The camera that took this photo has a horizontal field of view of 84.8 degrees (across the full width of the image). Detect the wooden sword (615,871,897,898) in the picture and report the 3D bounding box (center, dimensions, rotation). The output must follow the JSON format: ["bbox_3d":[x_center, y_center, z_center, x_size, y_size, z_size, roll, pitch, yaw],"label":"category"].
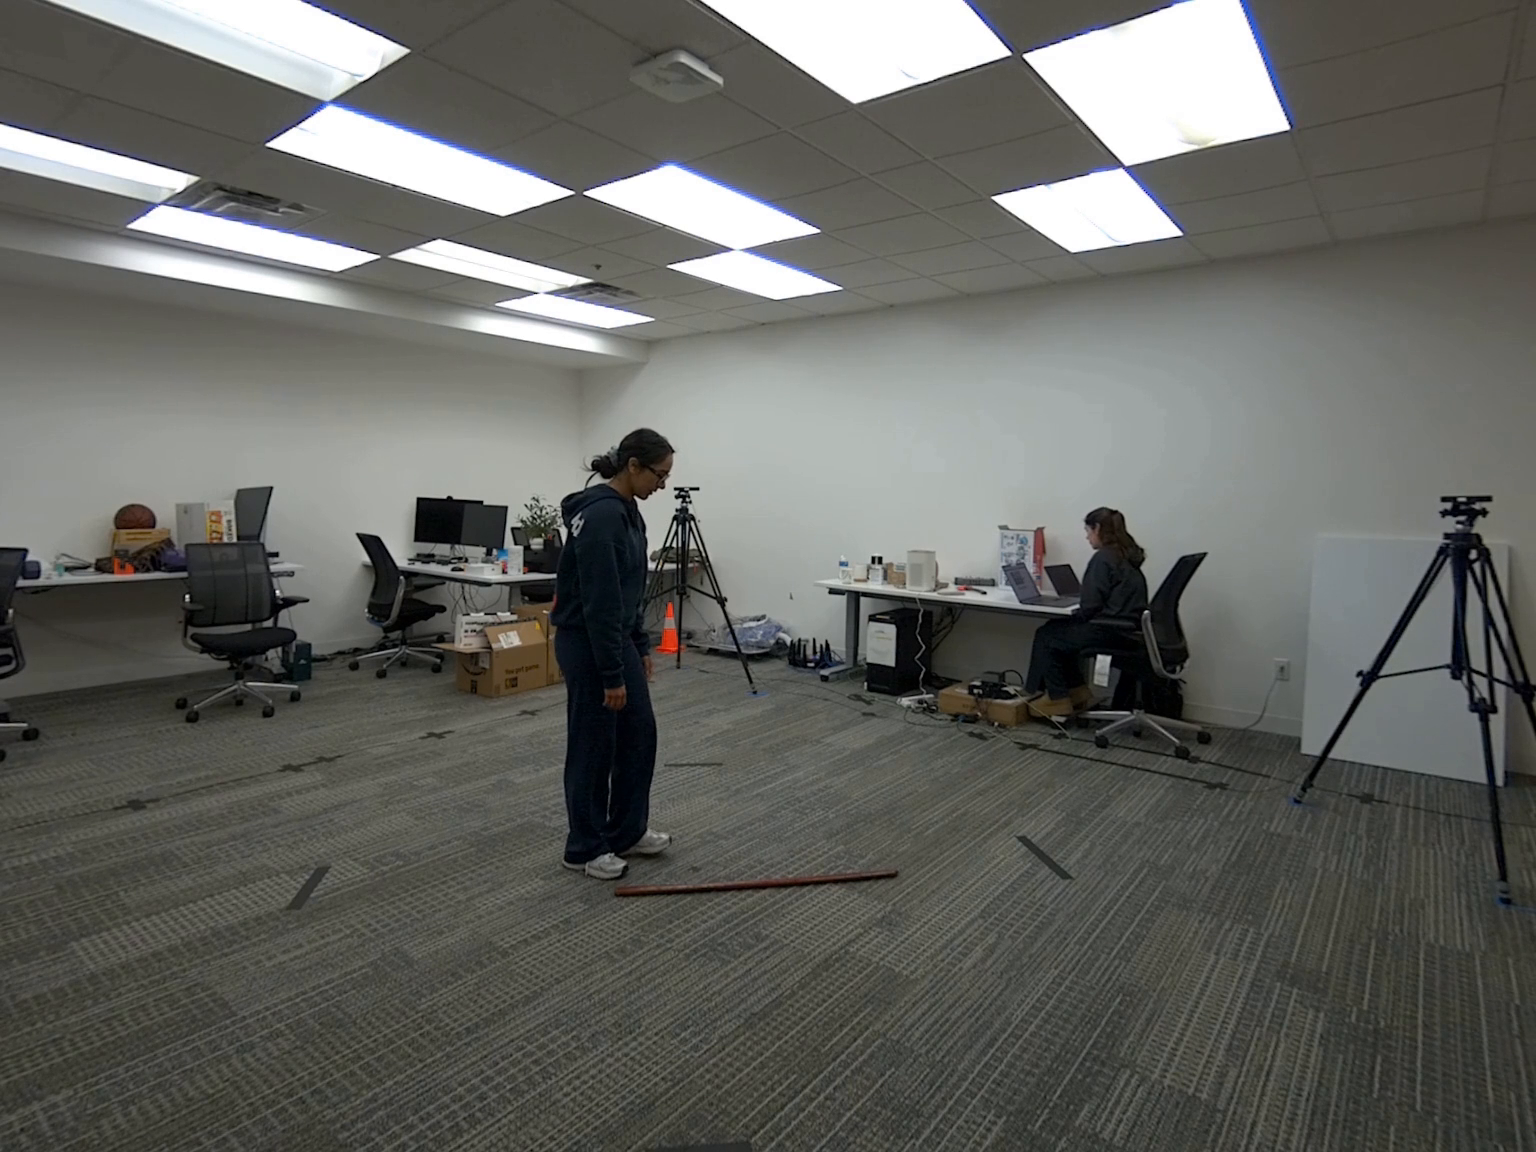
[{"bbox_3d":[-0.025,1.068,2.970,1.012,0.023,0.053,0,30,-12],"label":"wooden sword"}]
